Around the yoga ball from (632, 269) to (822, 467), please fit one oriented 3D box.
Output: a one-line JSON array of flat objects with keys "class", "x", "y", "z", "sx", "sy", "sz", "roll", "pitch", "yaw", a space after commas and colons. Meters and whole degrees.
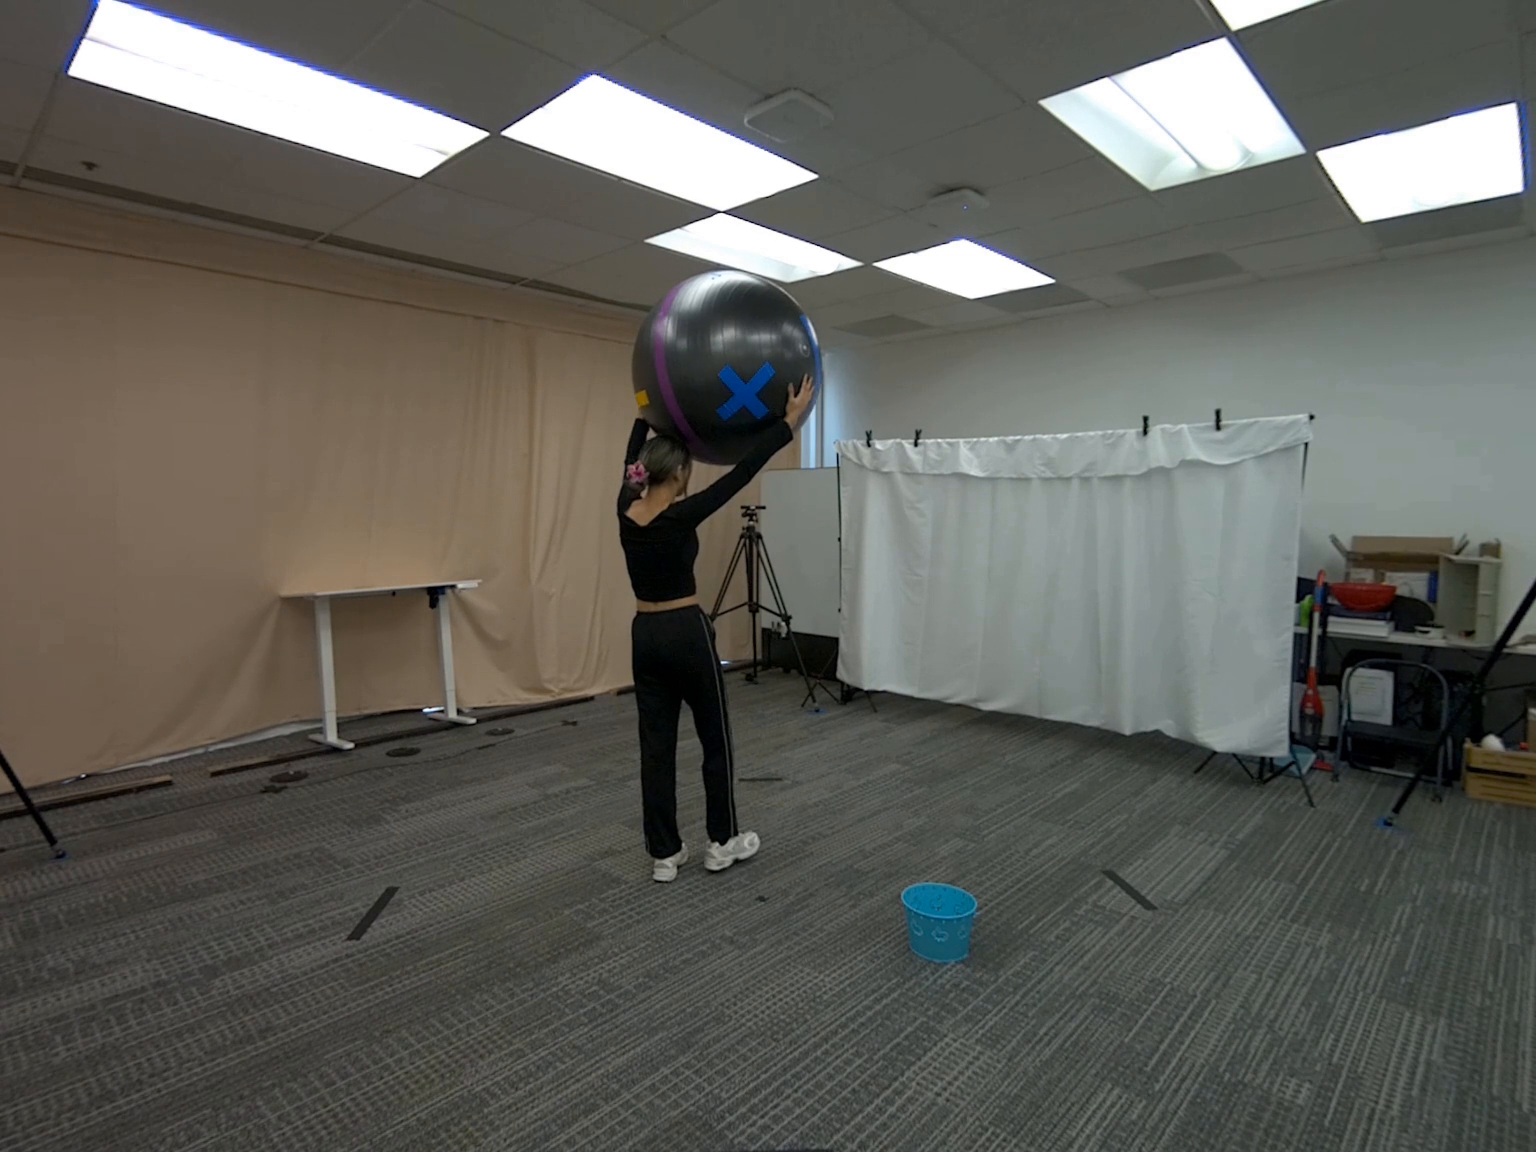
[{"class": "yoga ball", "x": -0.163, "y": -0.814, "z": 3.366, "sx": 0.757, "sy": 0.756, "sz": 0.760, "roll": 0, "pitch": 4, "yaw": -2}]
